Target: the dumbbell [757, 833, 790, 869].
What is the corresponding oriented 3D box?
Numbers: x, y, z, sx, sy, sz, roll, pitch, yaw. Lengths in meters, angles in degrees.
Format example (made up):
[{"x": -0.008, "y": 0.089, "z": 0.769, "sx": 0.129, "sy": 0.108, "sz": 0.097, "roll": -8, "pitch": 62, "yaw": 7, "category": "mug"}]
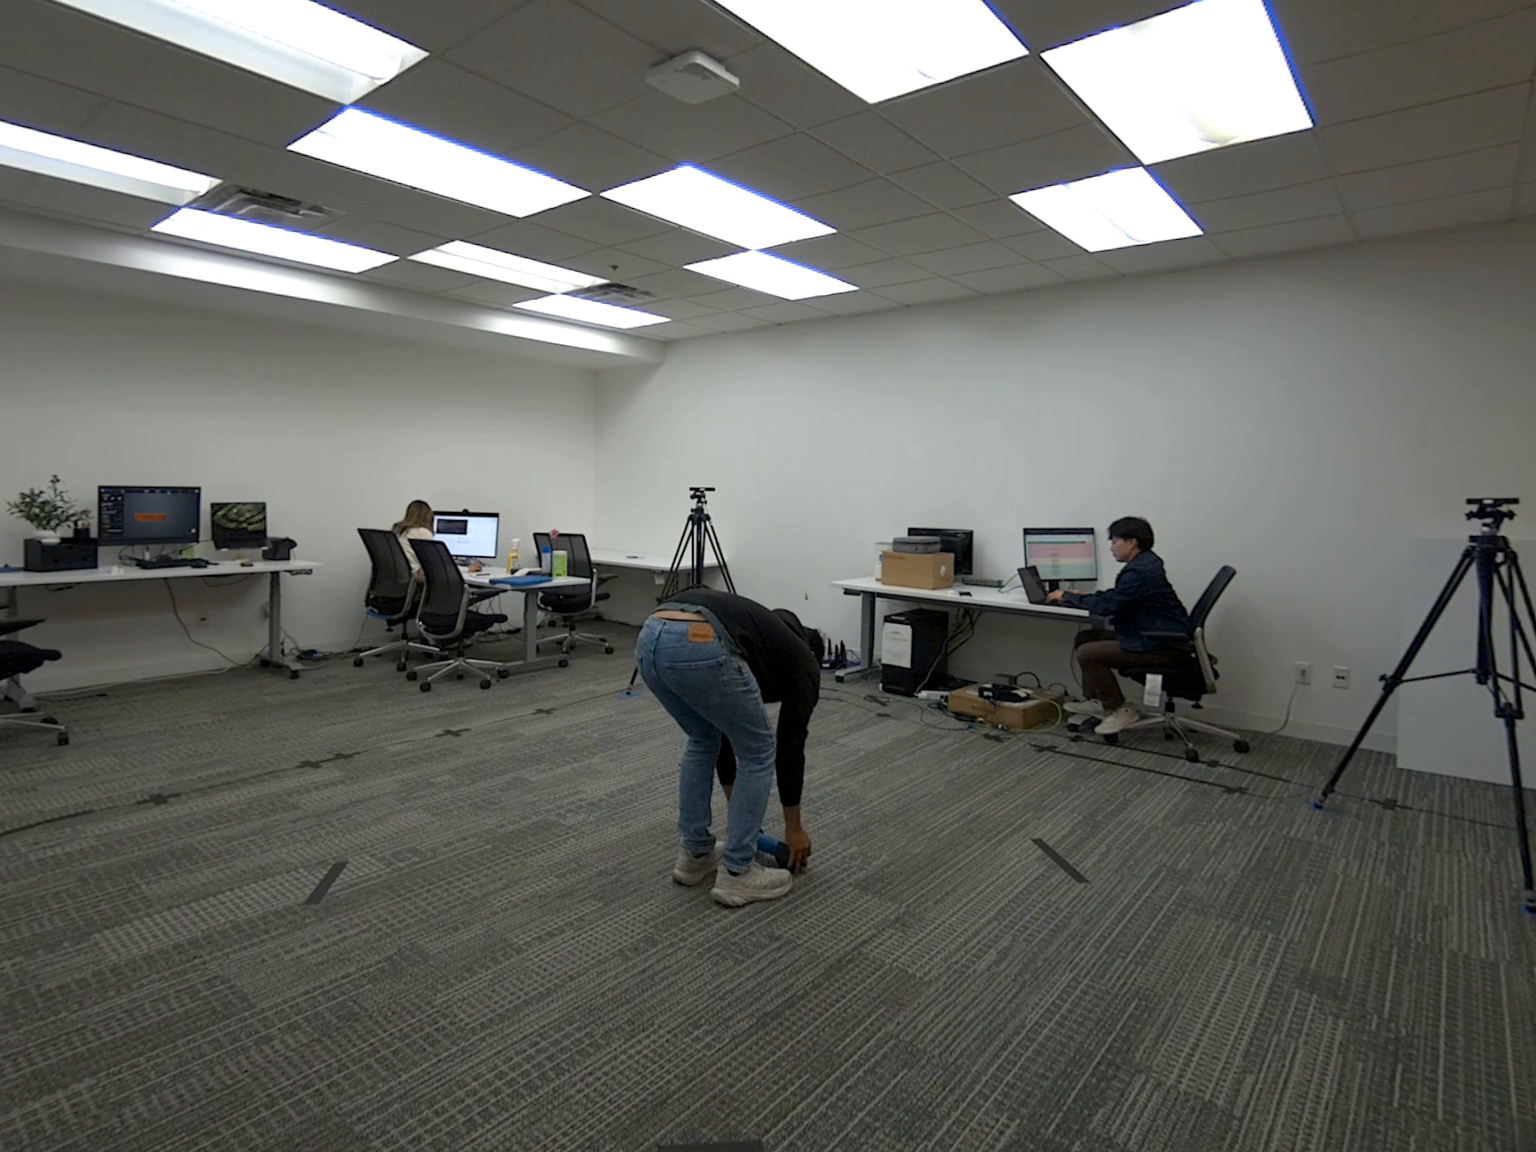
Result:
[{"x": -0.008, "y": 1.002, "z": 3.173, "sx": 0.304, "sy": 0.108, "sz": 0.120, "roll": 7, "pitch": 13, "yaw": 43, "category": "dumbbell"}]
